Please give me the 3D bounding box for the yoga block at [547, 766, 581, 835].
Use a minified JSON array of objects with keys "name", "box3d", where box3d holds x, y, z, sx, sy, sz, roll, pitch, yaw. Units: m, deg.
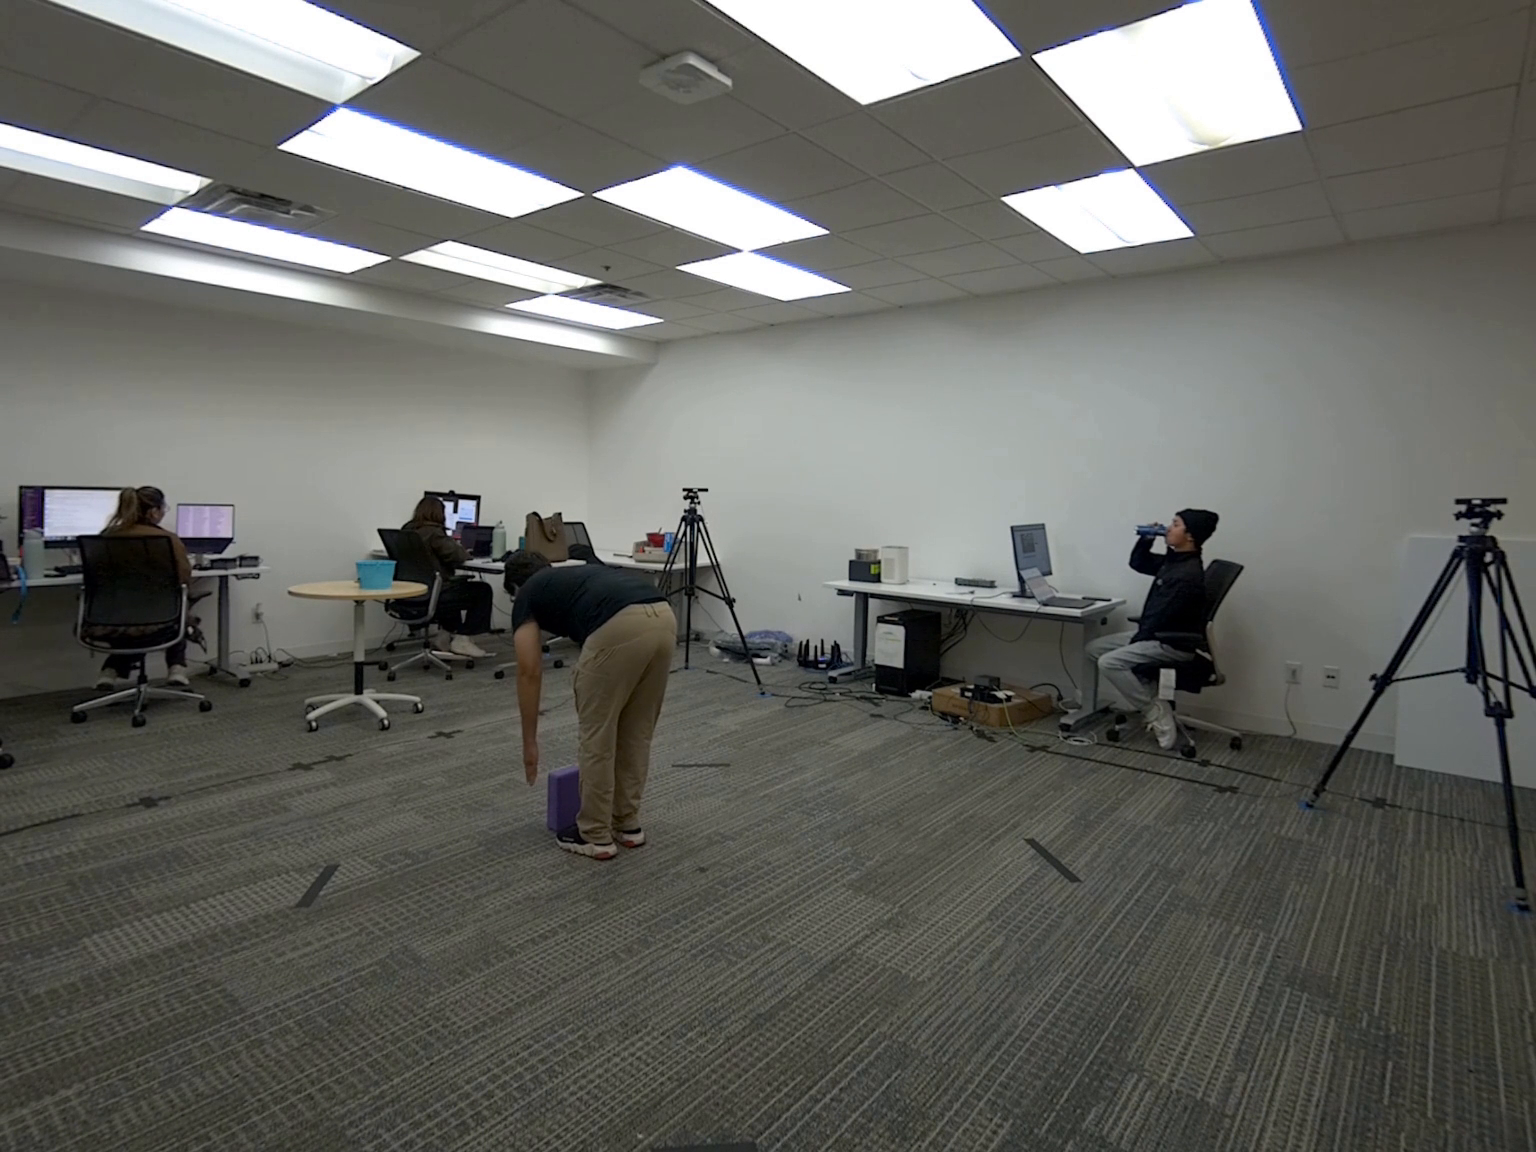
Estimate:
[{"name":"yoga block","box3d":[-0.838,0.903,3.487,0.079,0.228,0.144,5,5,42]}]
